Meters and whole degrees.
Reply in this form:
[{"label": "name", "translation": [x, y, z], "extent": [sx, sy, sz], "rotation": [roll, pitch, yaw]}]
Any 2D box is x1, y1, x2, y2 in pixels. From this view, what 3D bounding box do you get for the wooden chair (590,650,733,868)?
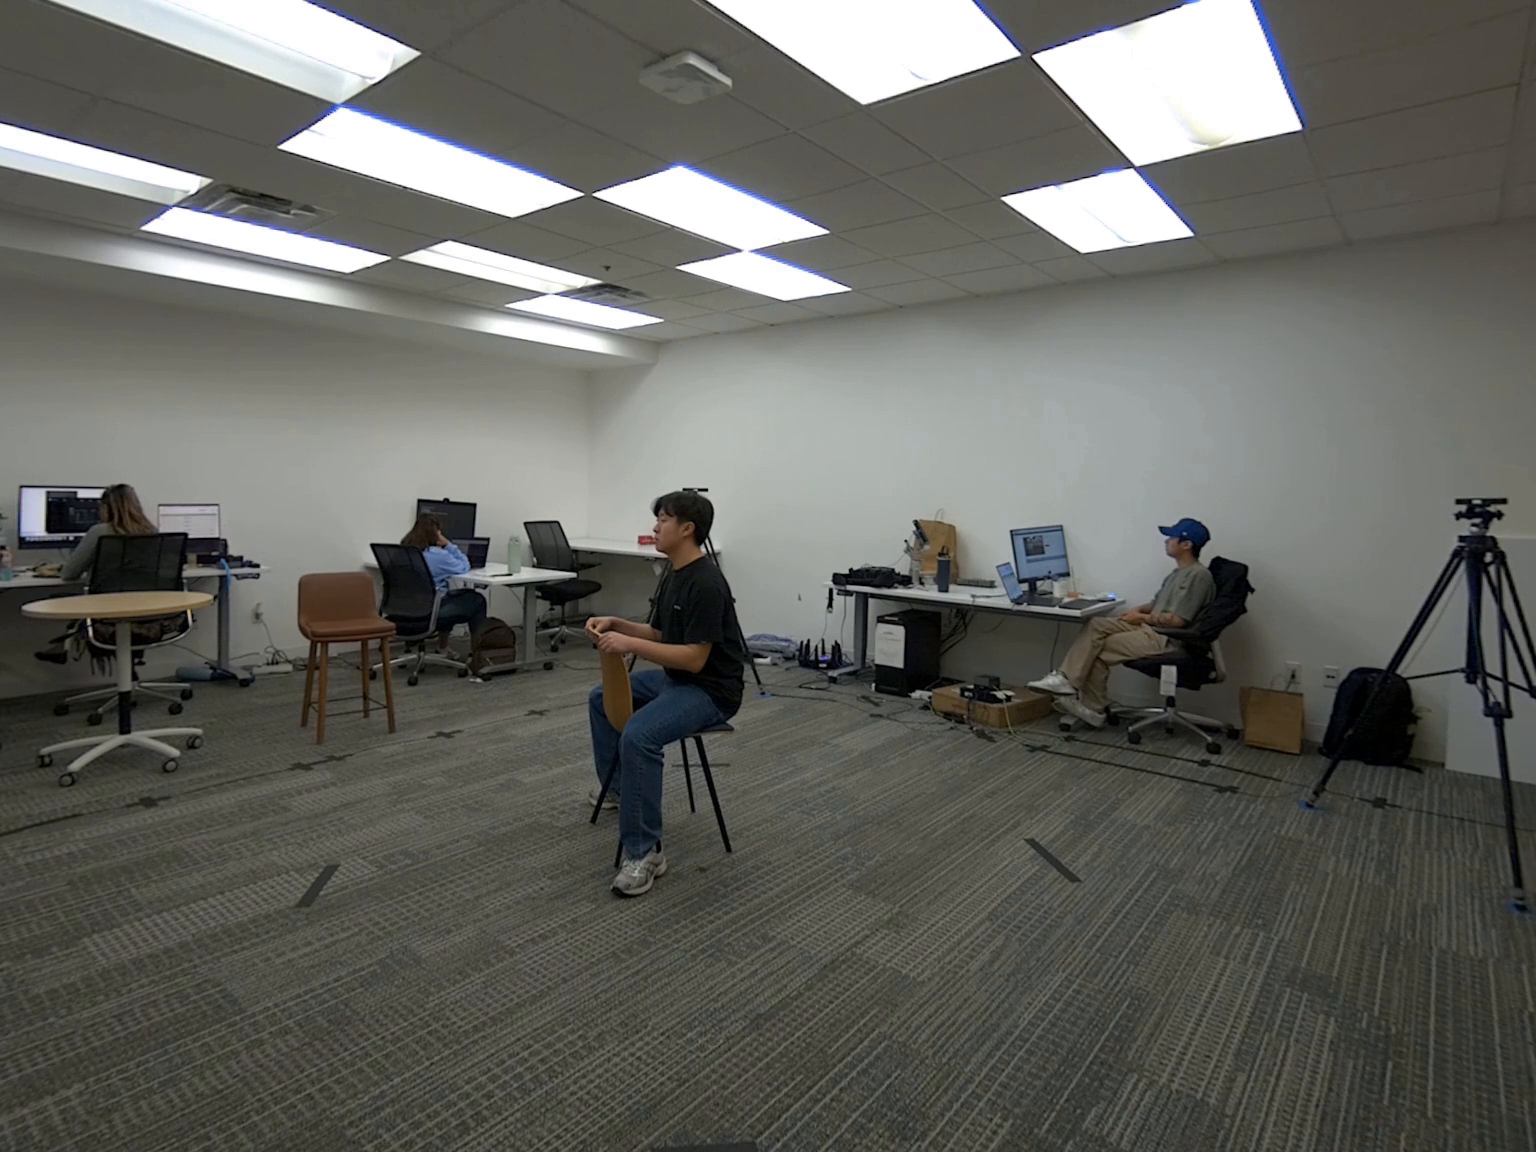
[{"label": "wooden chair", "translation": [-0.429, 0.615, 3.368], "extent": [0.513, 0.874, 0.489], "rotation": [-4, 4, -21]}]
